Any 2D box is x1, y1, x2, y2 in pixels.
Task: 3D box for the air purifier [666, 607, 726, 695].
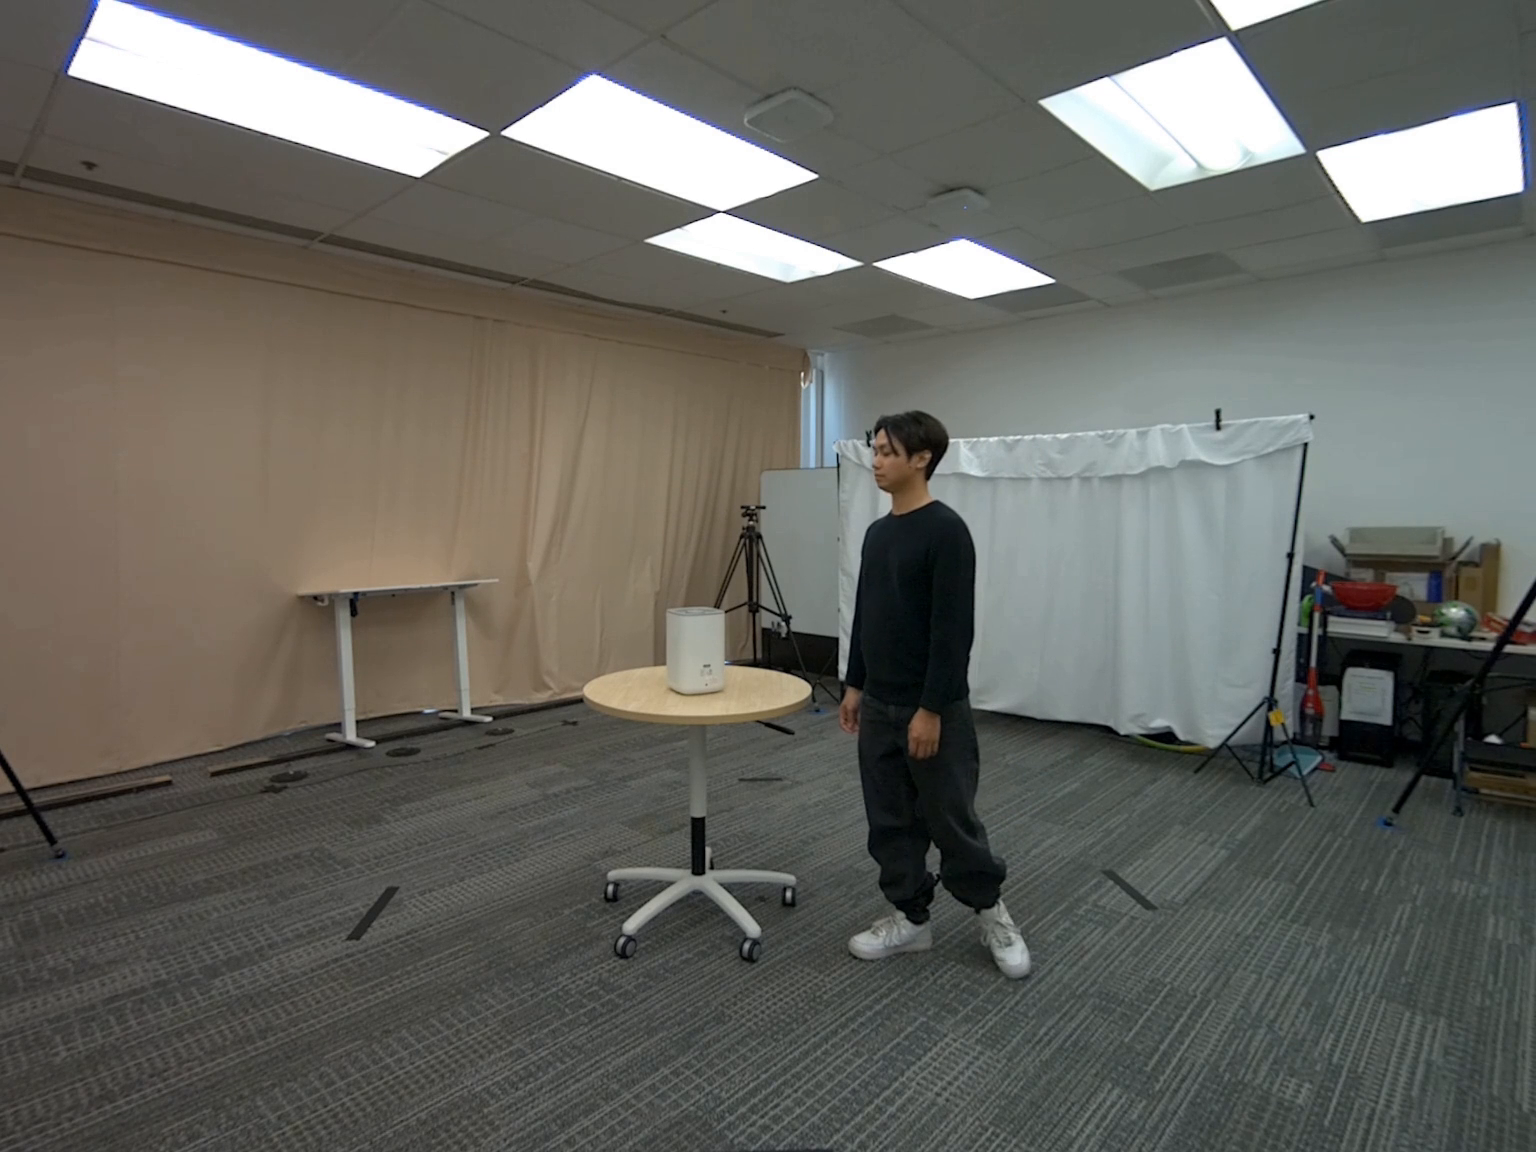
[{"bbox_3d":[-0.231,0.245,2.786,0.166,0.265,0.177,-1,5,-30],"label":"air purifier"}]
